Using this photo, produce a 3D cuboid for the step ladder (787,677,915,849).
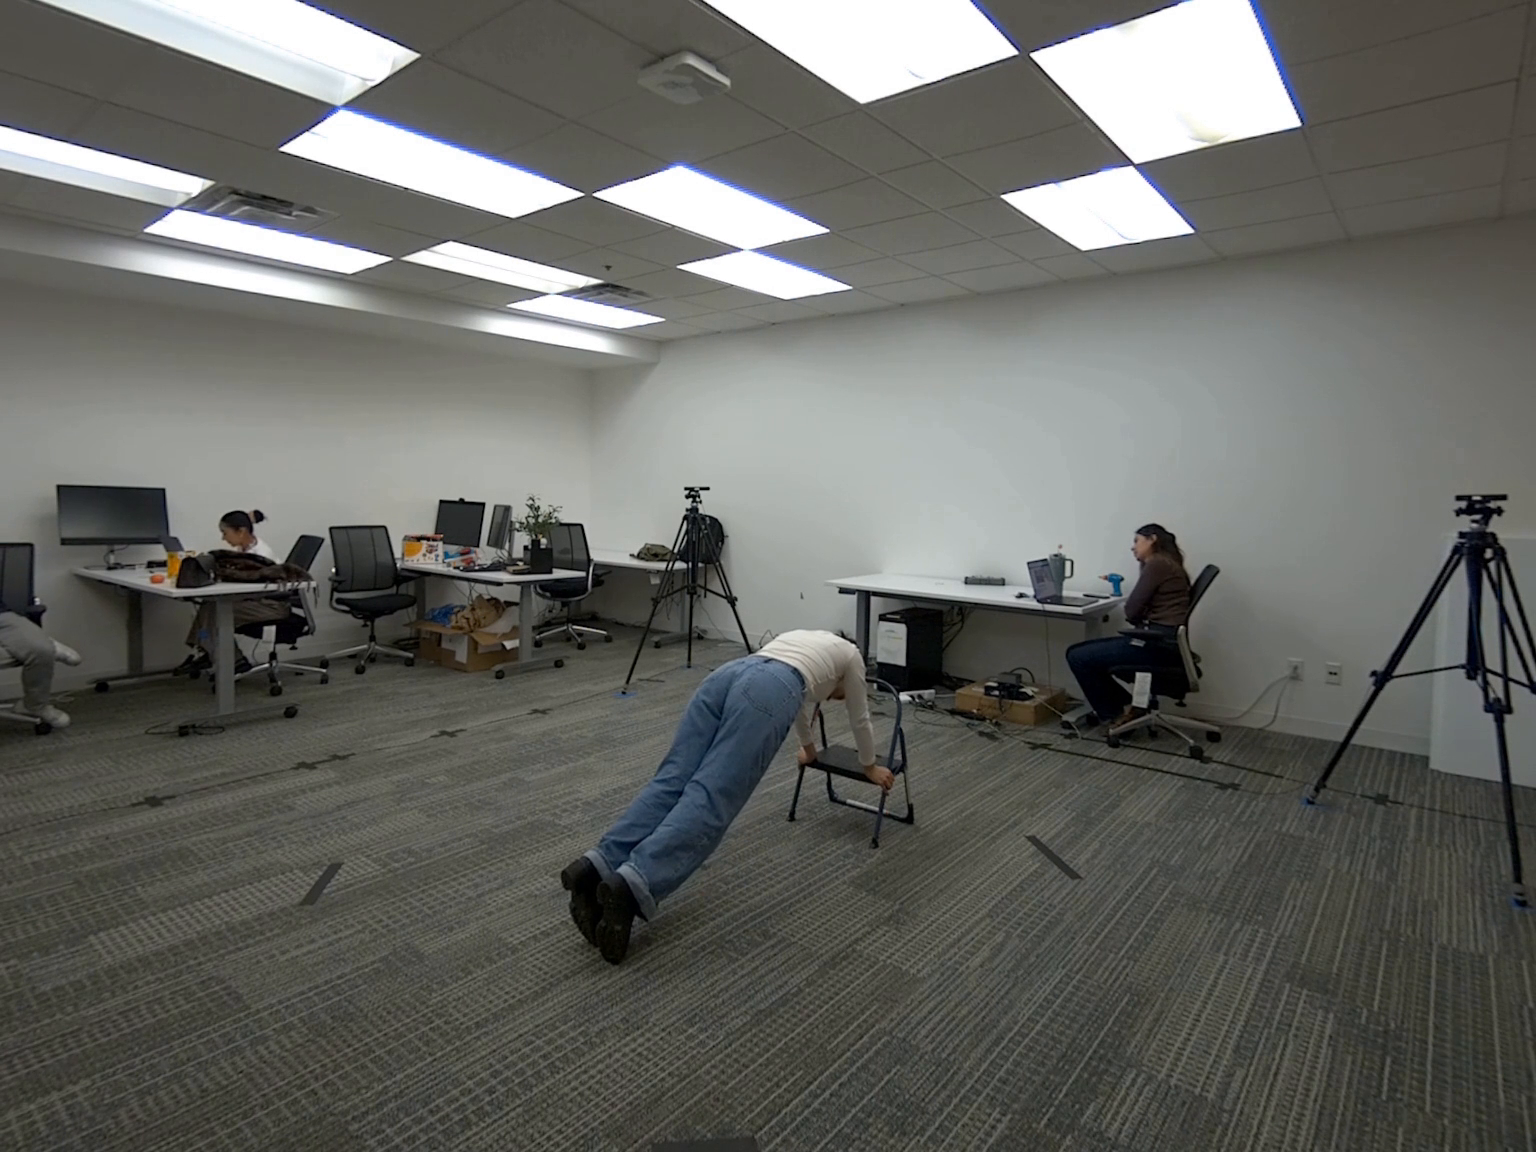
[{"bbox_3d":[0.351,0.729,3.562,0.445,0.604,0.339,4,4,38],"label":"step ladder"}]
